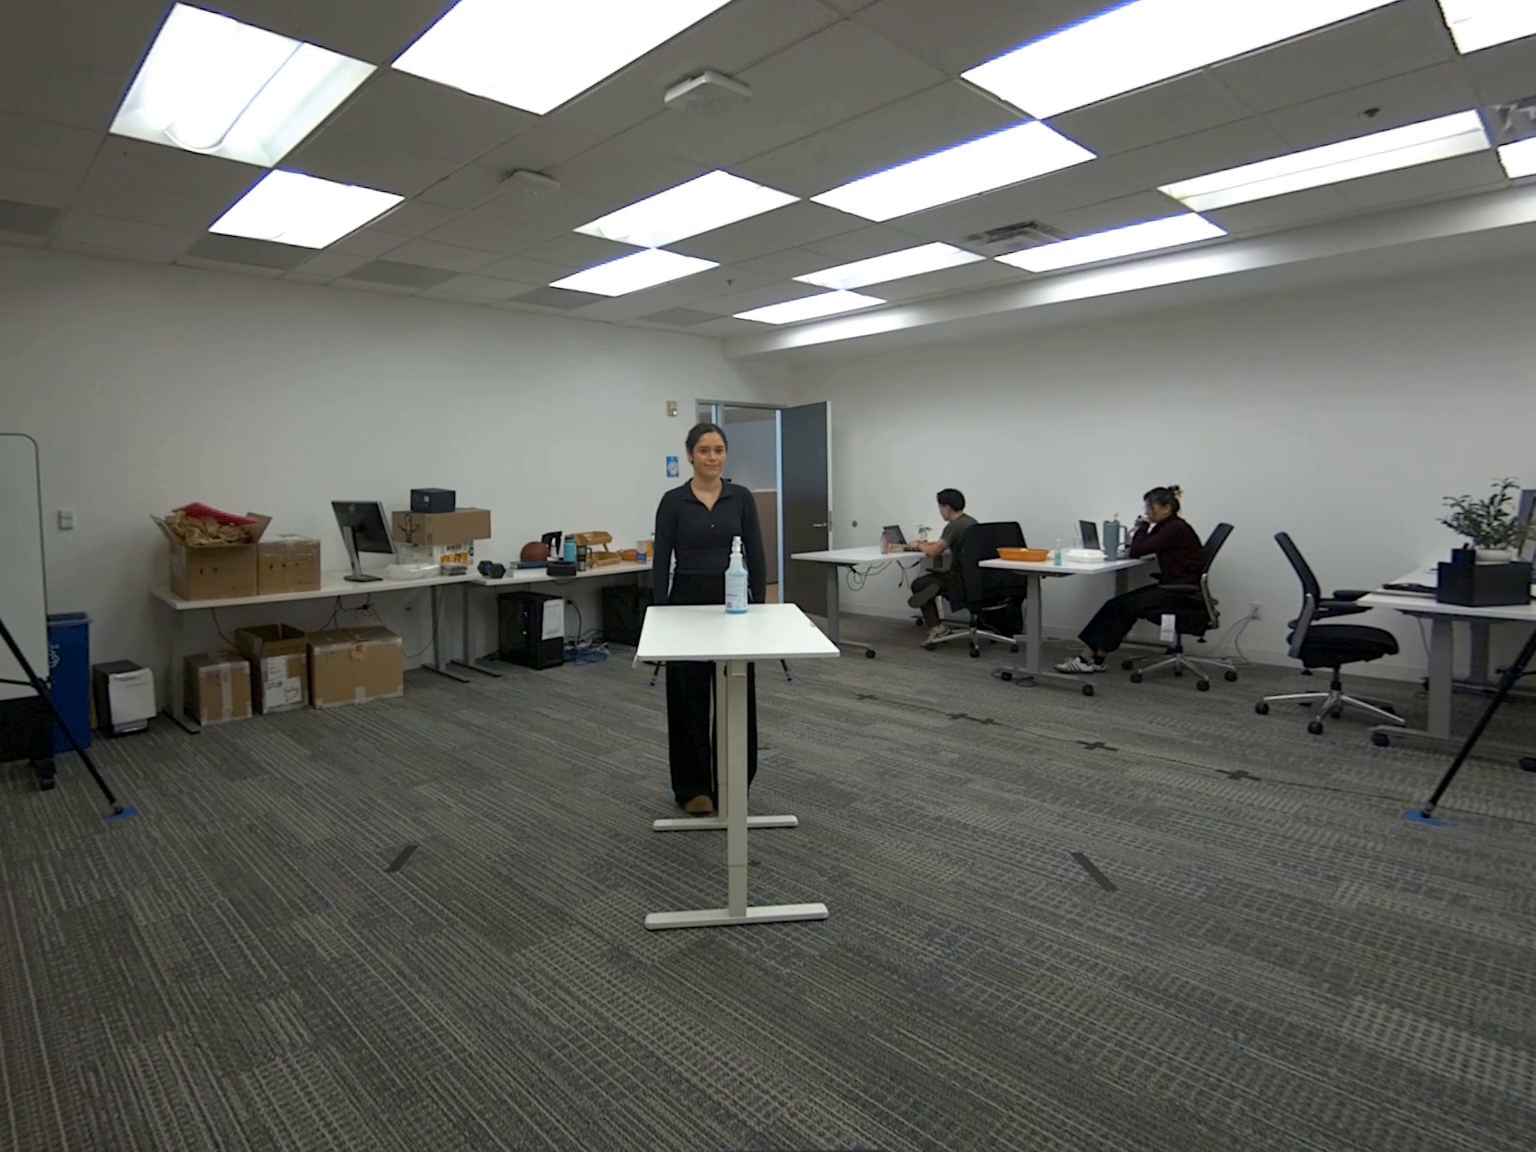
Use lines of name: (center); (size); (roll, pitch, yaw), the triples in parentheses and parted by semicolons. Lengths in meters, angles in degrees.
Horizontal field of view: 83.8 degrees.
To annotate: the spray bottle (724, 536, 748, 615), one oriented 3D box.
spray bottle: (-0.128, -0.002, 3.306); (0.088, 0.296, 0.089); (2, 5, 16)
